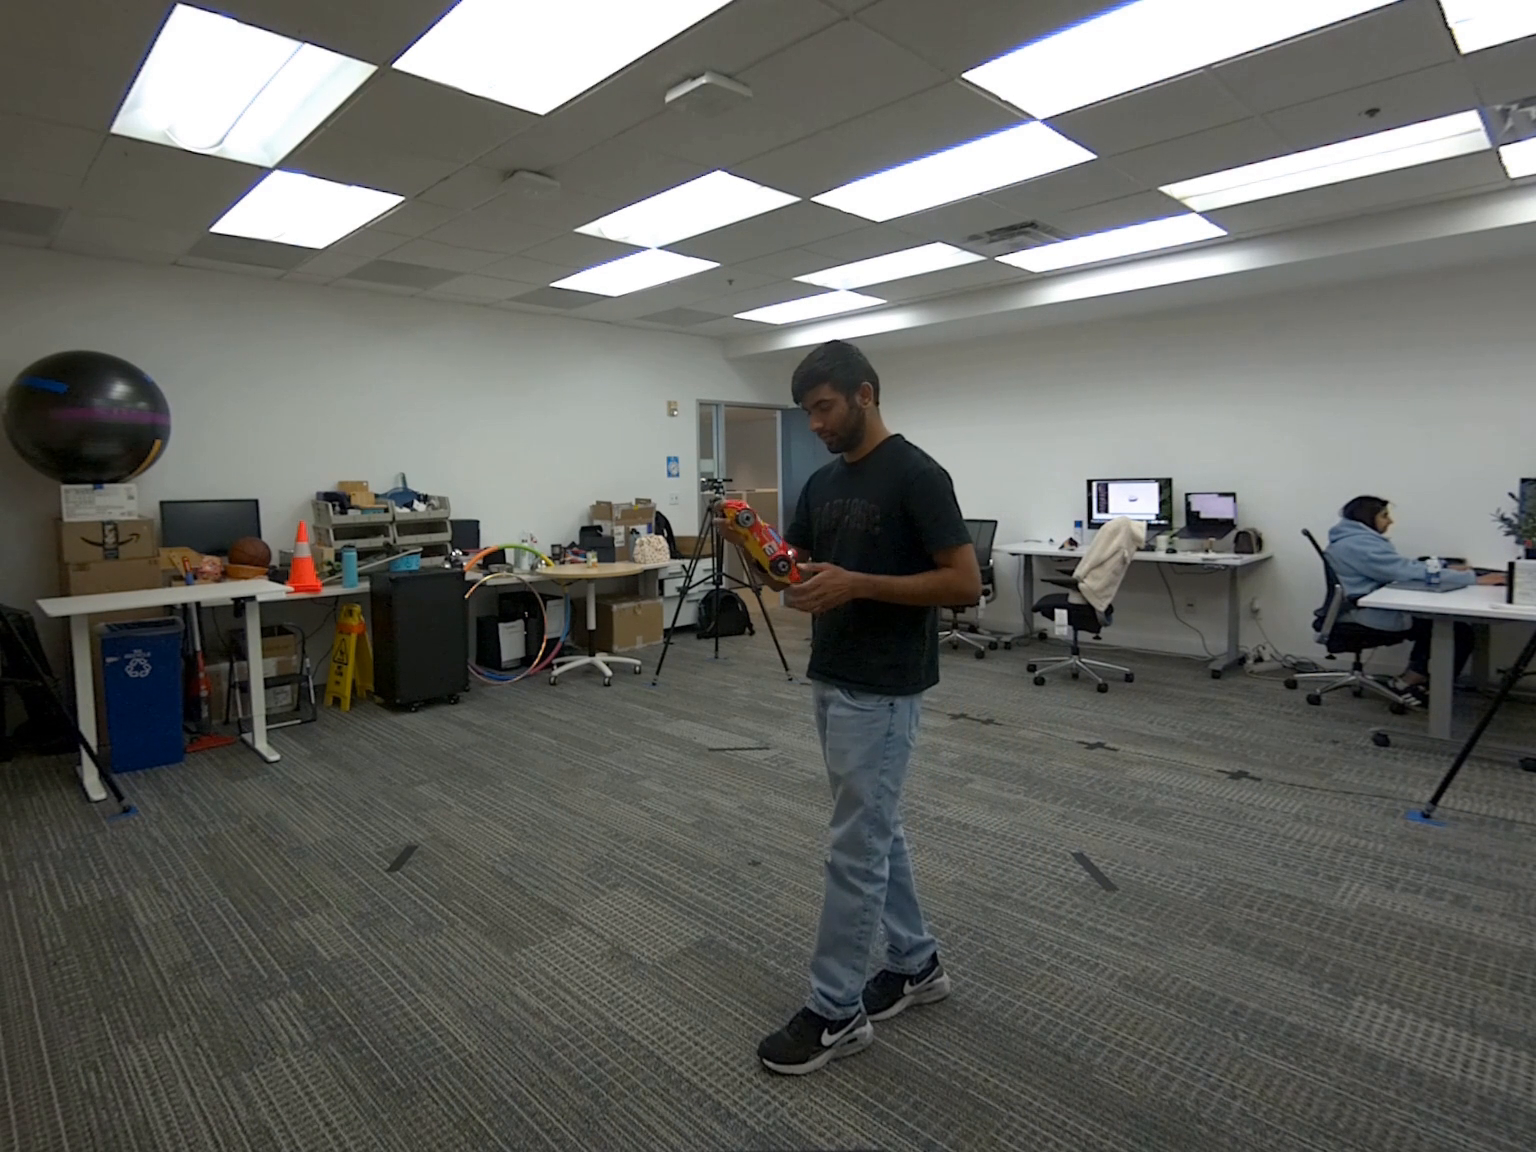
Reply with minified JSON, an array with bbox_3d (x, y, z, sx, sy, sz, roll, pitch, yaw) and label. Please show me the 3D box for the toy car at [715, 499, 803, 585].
[{"bbox_3d":[-0.007,-0.069,1.989,0.248,0.083,0.133,42,-14,-22],"label":"toy car"}]
